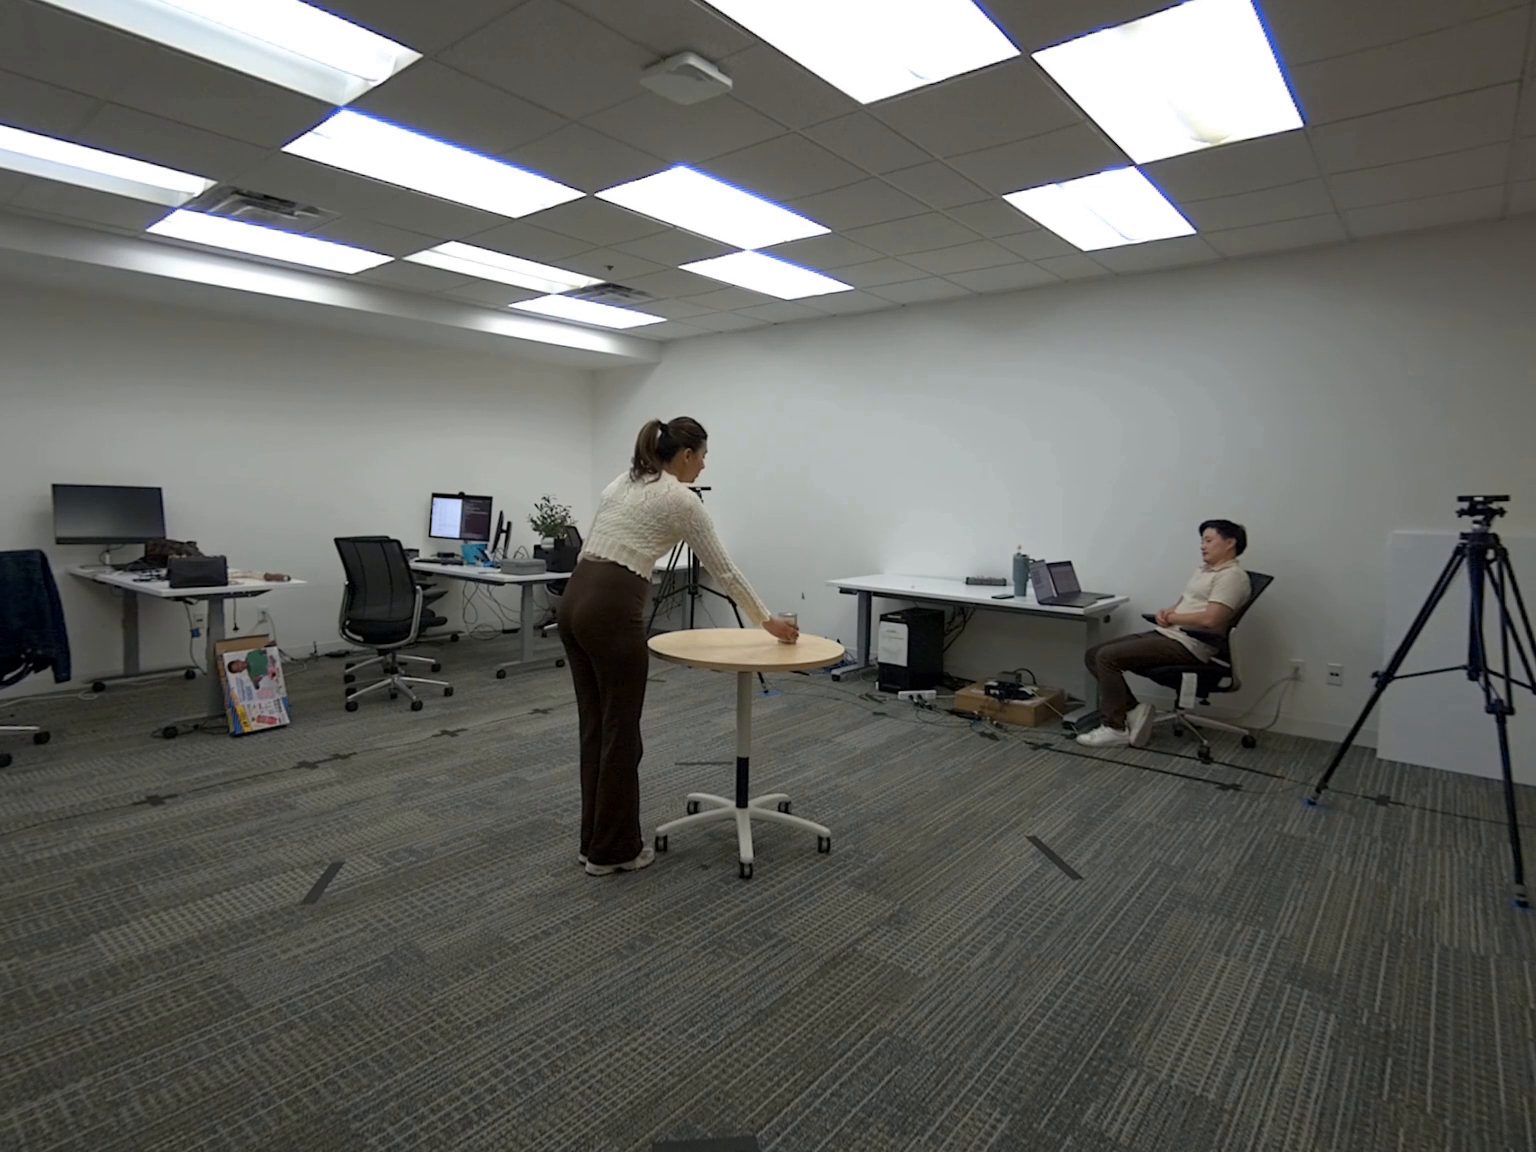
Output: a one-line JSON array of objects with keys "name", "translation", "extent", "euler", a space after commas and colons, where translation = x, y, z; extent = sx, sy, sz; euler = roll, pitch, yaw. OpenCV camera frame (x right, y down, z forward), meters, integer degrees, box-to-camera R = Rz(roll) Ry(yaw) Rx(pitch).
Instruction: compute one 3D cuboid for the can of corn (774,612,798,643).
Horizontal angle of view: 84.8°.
[{"name": "can of corn", "translation": [0.068, 0.204, 3.373], "extent": [0.074, 0.110, 0.075], "euler": [0, 8, -2]}]
